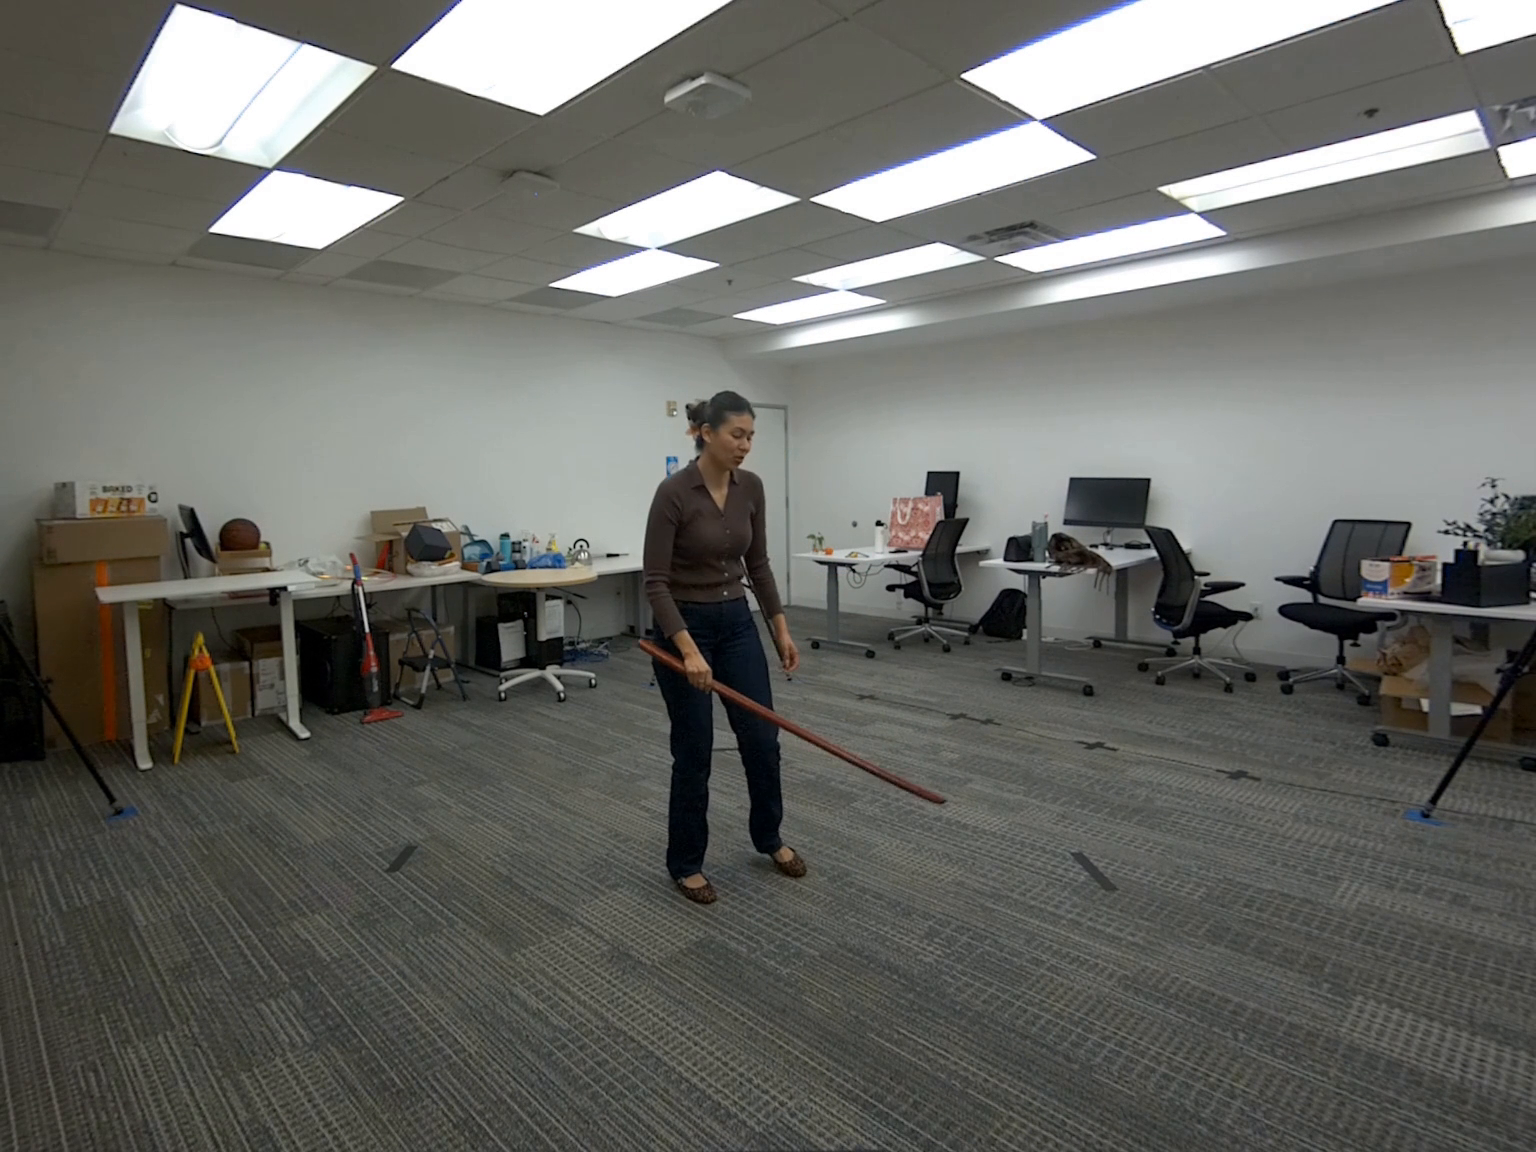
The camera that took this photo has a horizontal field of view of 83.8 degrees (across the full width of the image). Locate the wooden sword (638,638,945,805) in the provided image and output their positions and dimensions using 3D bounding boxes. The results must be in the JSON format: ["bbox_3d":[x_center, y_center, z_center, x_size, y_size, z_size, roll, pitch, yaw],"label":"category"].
[{"bbox_3d":[0.083,0.450,2.564,1.038,0.050,0.024,26,27,10],"label":"wooden sword"}]
